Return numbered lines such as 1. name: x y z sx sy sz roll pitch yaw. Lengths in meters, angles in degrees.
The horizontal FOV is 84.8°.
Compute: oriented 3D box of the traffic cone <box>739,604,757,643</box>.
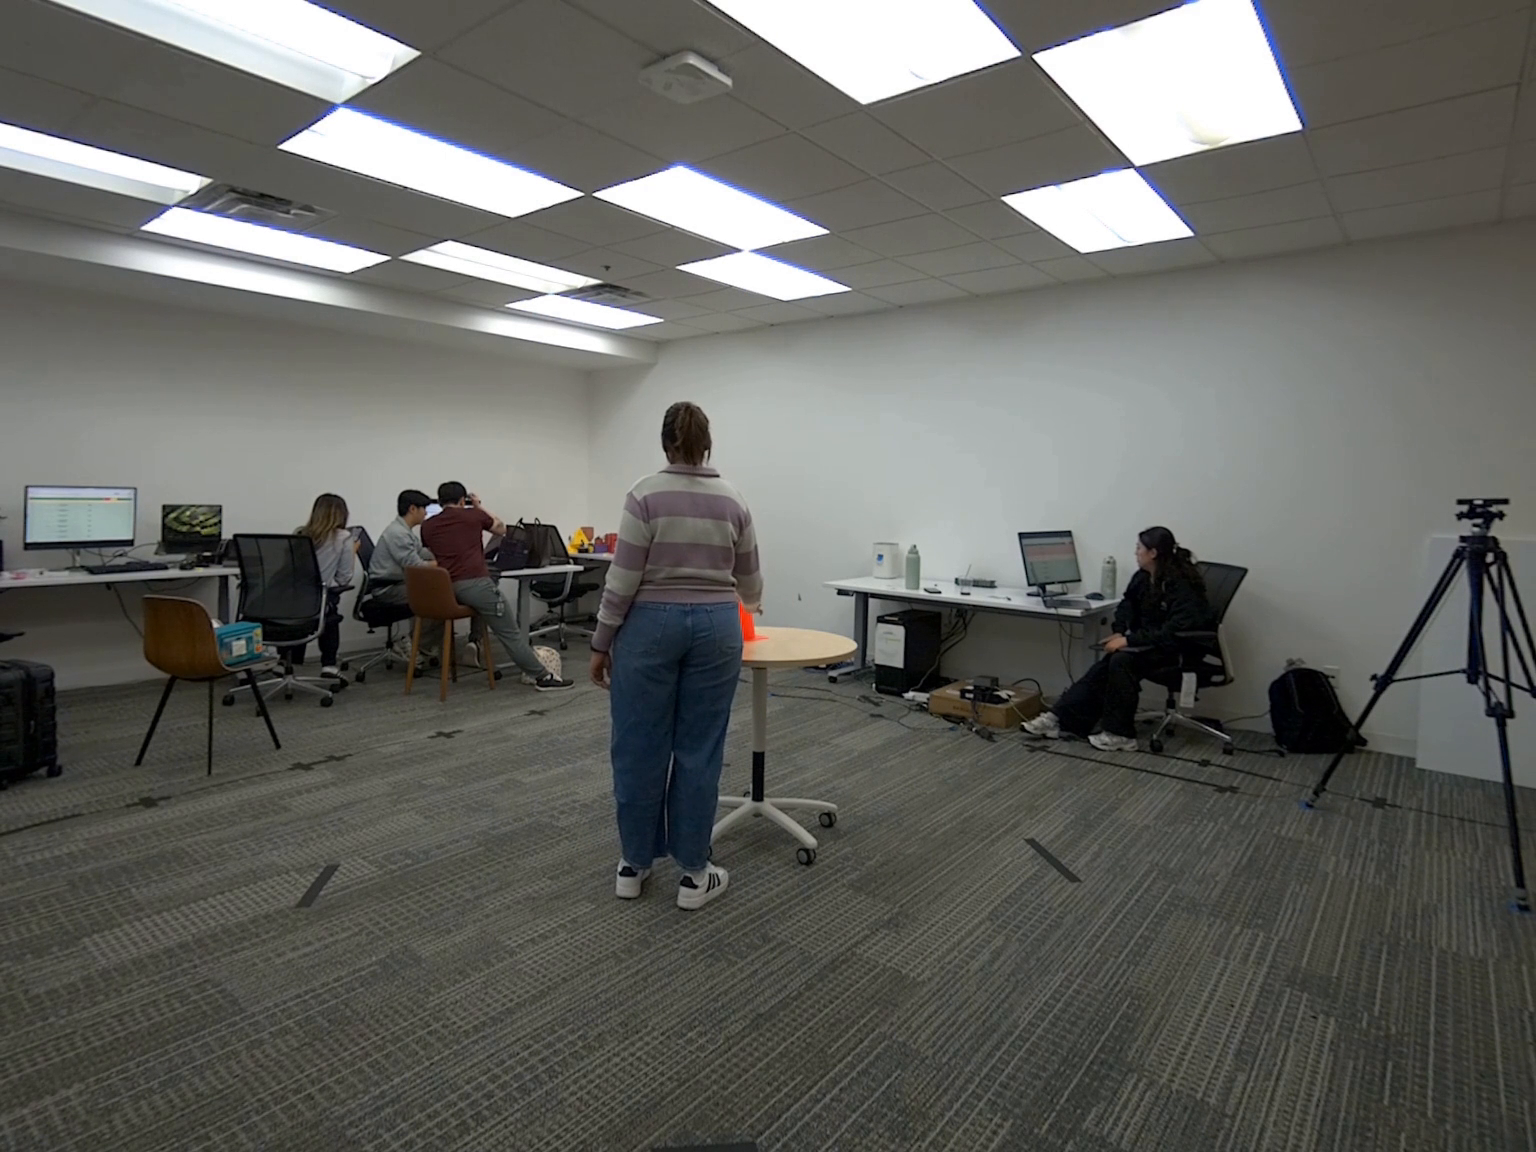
1. traffic cone: -0.138 0.066 3.482 0.212 0.382 0.197 5 6 40
